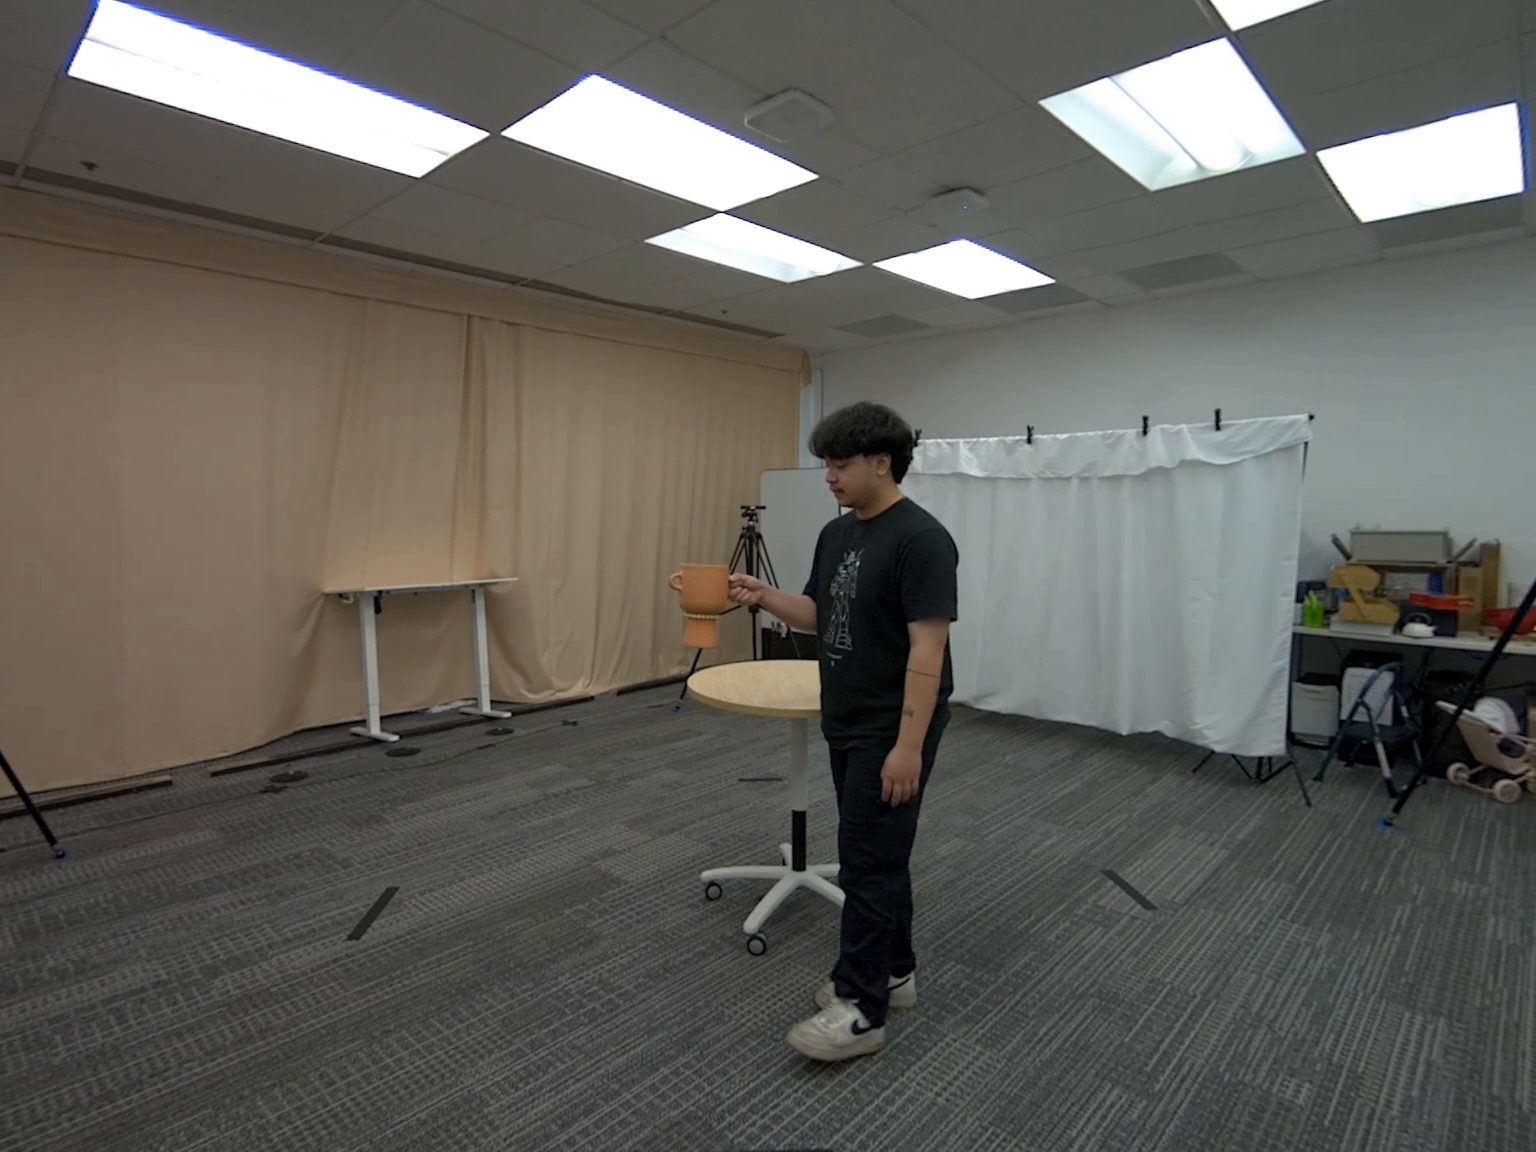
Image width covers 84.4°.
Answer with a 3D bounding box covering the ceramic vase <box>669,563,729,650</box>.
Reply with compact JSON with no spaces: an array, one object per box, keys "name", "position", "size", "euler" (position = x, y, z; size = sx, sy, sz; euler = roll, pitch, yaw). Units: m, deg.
[{"name":"ceramic vase","position":[-0.169,0.083,2.265],"size":[0.161,0.220,0.132],"euler":[2,-1,15]}]
